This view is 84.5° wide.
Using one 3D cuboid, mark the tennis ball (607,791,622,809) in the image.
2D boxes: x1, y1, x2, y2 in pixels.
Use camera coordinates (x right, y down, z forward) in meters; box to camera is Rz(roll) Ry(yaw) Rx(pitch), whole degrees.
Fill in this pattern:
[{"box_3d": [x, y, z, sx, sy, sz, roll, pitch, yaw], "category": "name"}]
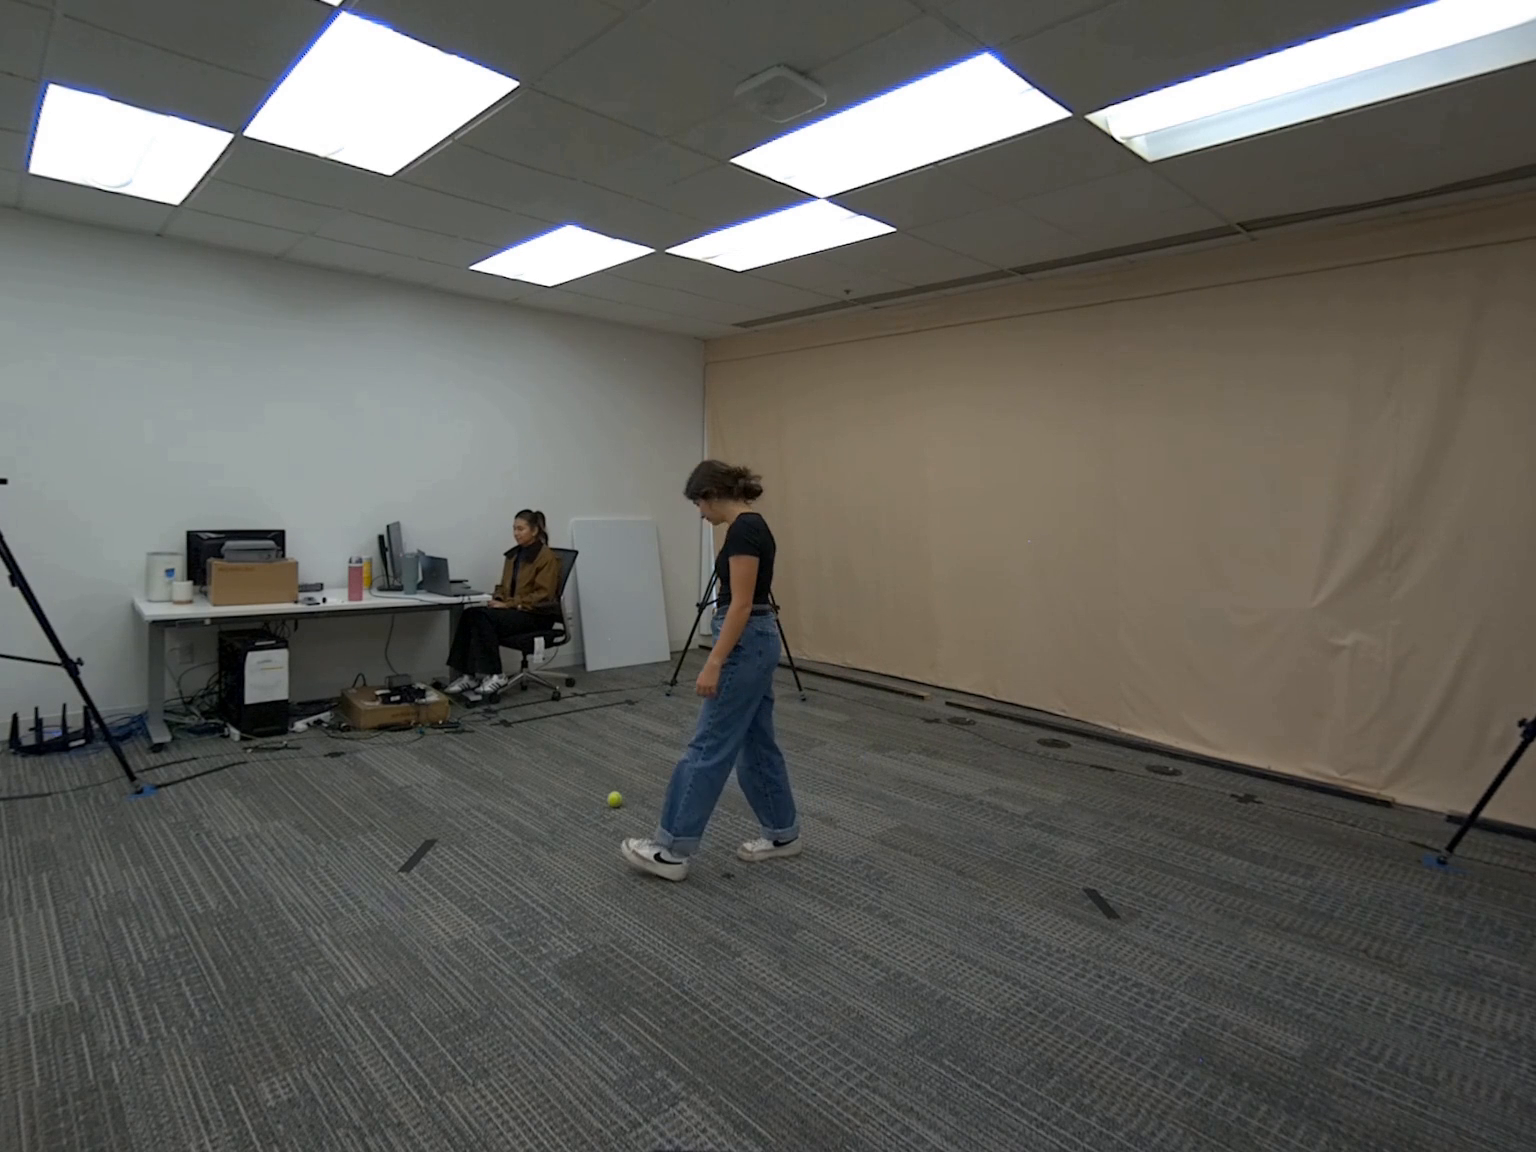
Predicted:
[{"box_3d": [-0.700, 0.995, 3.769, 0.066, 0.066, 0.067, 1, 4, -1], "category": "tennis ball"}]
